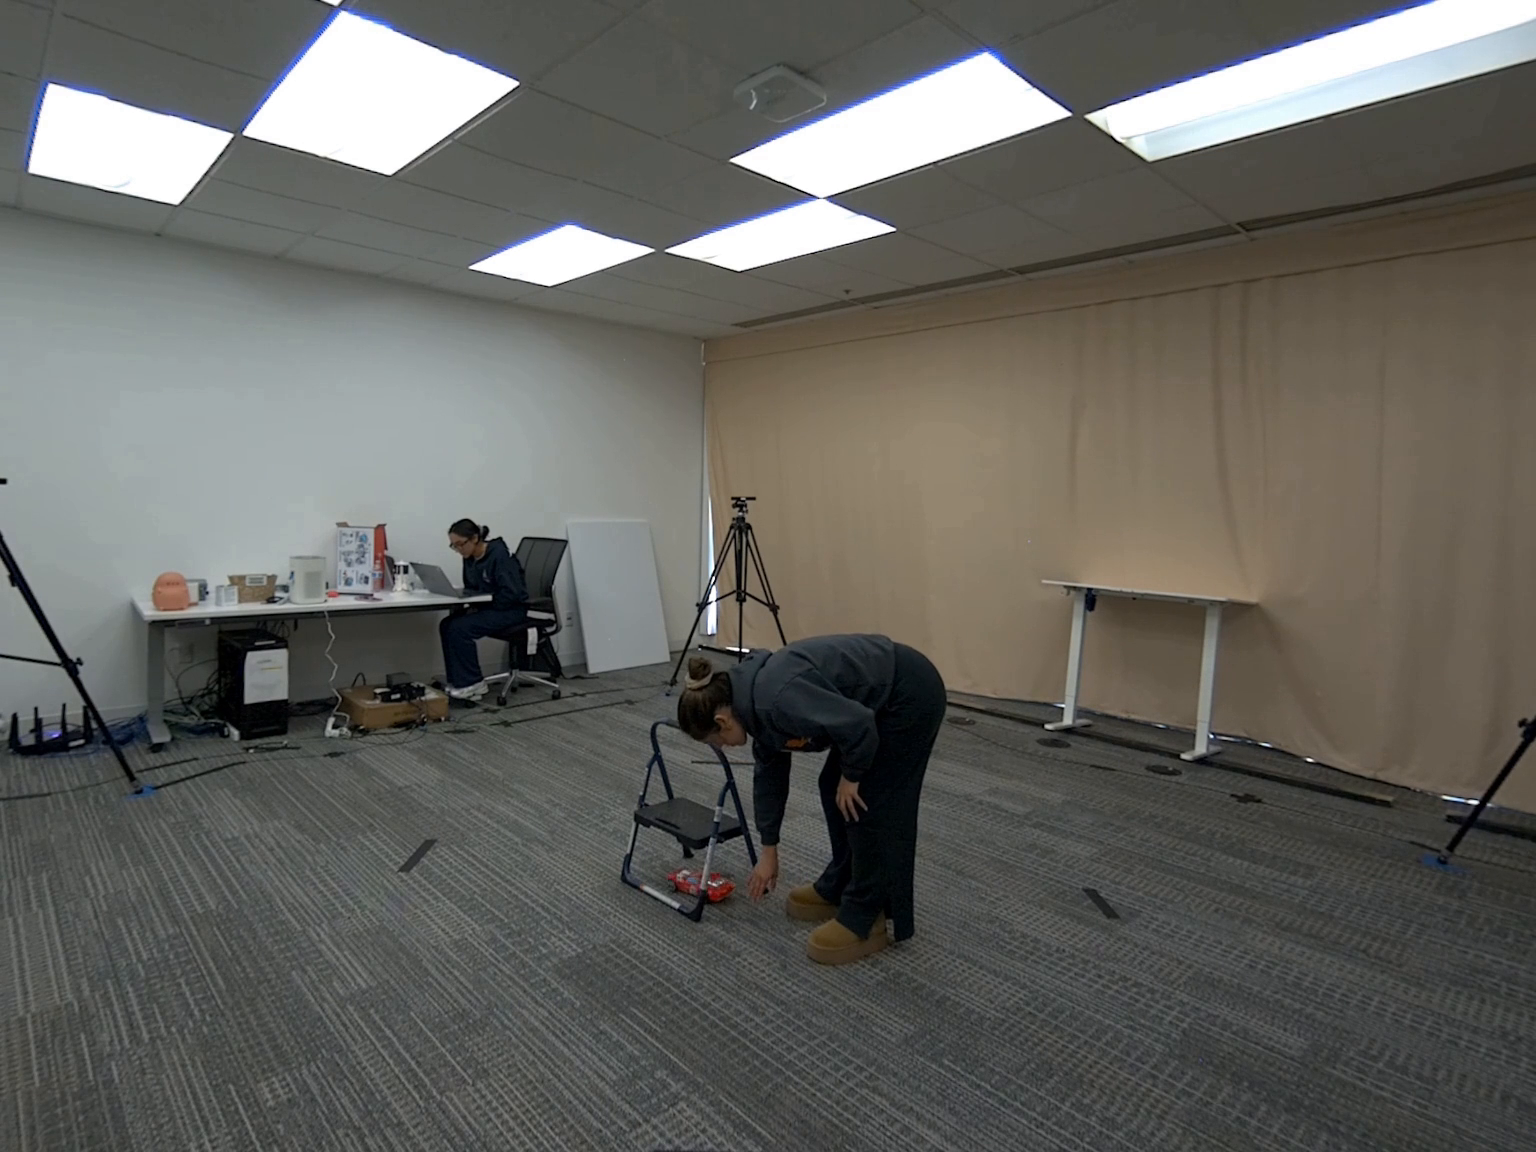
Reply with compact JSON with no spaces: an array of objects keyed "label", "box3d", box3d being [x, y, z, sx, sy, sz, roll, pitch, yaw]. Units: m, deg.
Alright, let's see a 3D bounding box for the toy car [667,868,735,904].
[{"label":"toy car","box3d":[-0.232,1.094,2.955,0.259,0.083,0.127,-8,-1,36]}]
